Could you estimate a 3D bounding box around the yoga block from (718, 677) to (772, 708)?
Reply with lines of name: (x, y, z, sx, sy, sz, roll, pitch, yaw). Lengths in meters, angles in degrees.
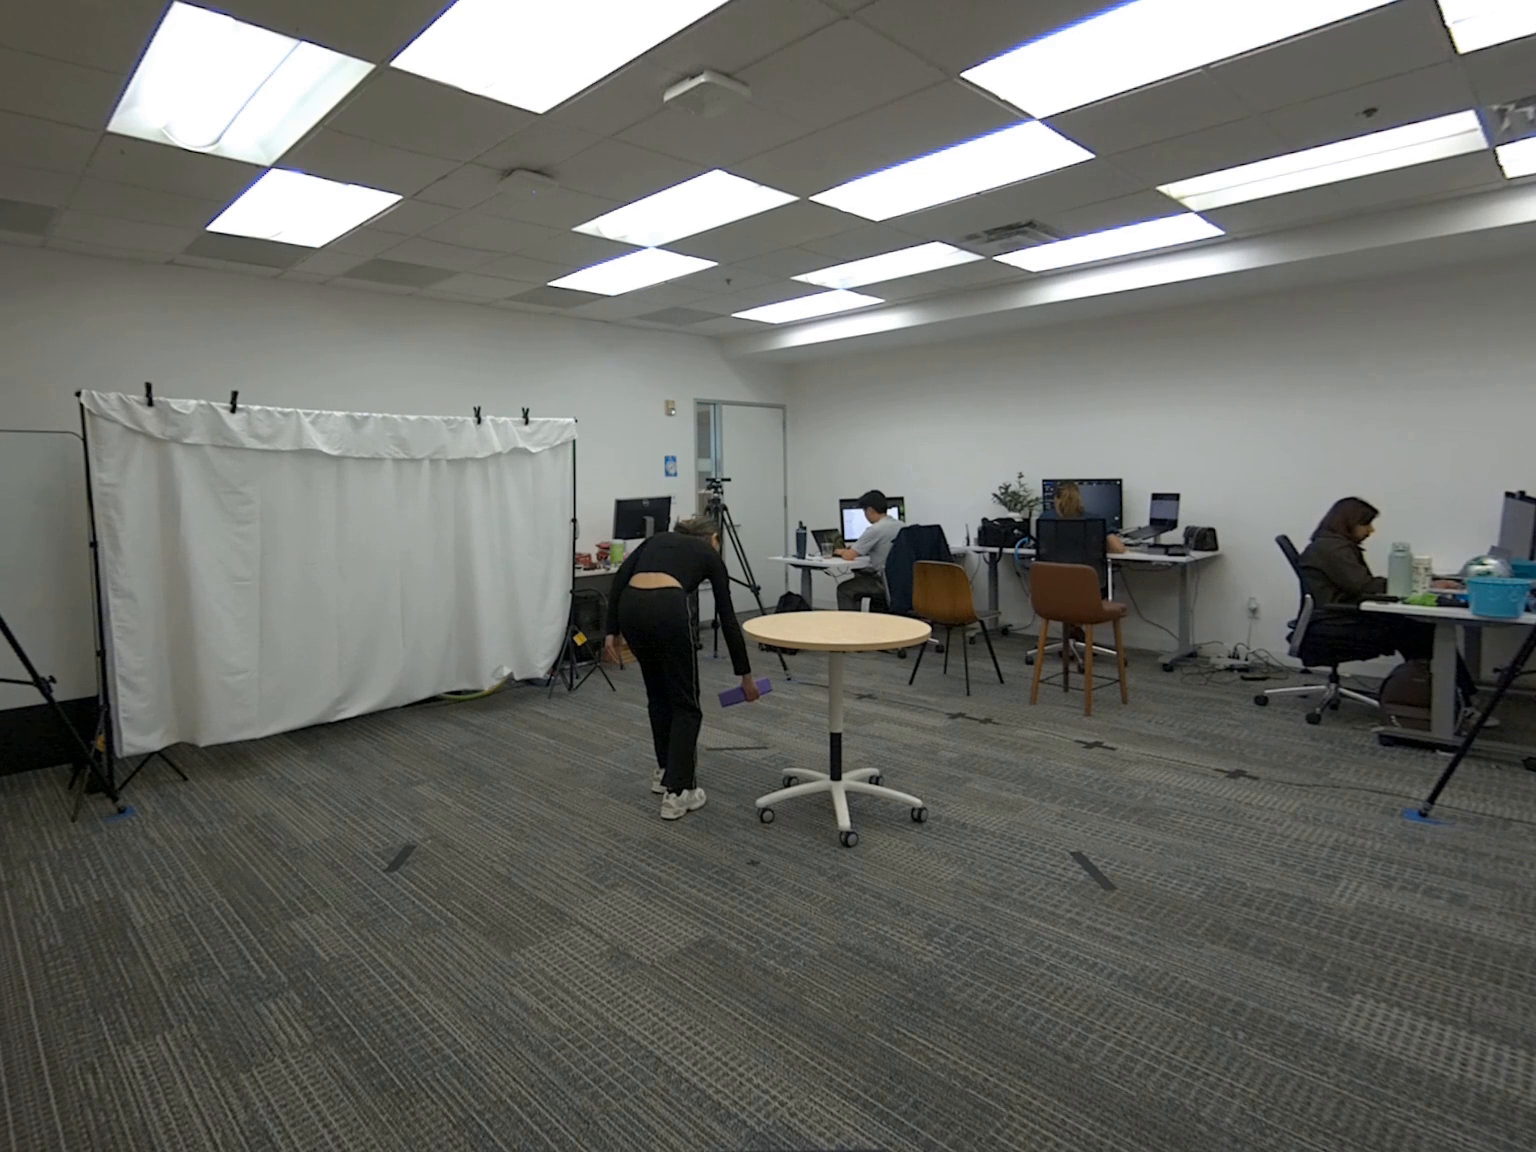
yoga block: (-0.112, 0.551, 4.093, 0.152, 0.077, 0.224, -18, -5, 38)
